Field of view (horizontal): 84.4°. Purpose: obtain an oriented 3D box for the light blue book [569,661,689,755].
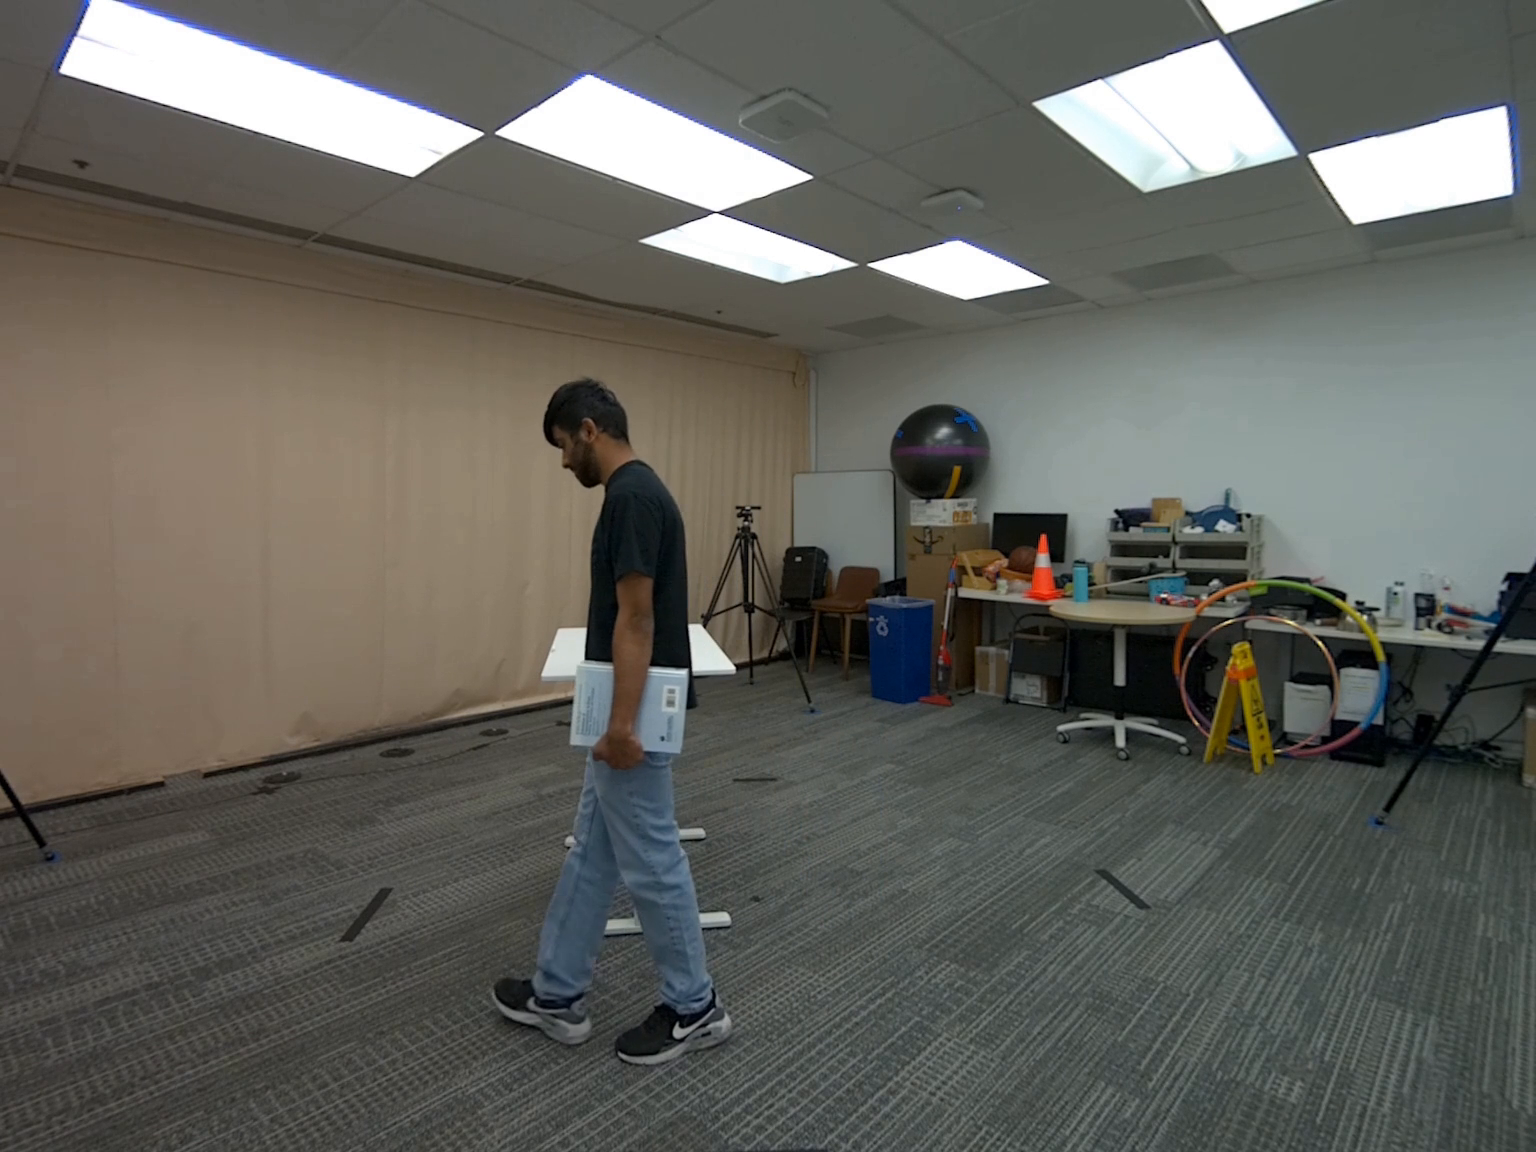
[{"bbox_3d":[-0.326,0.308,1.996,0.262,0.192,0.058,3,-7,4],"label":"light blue book"}]
